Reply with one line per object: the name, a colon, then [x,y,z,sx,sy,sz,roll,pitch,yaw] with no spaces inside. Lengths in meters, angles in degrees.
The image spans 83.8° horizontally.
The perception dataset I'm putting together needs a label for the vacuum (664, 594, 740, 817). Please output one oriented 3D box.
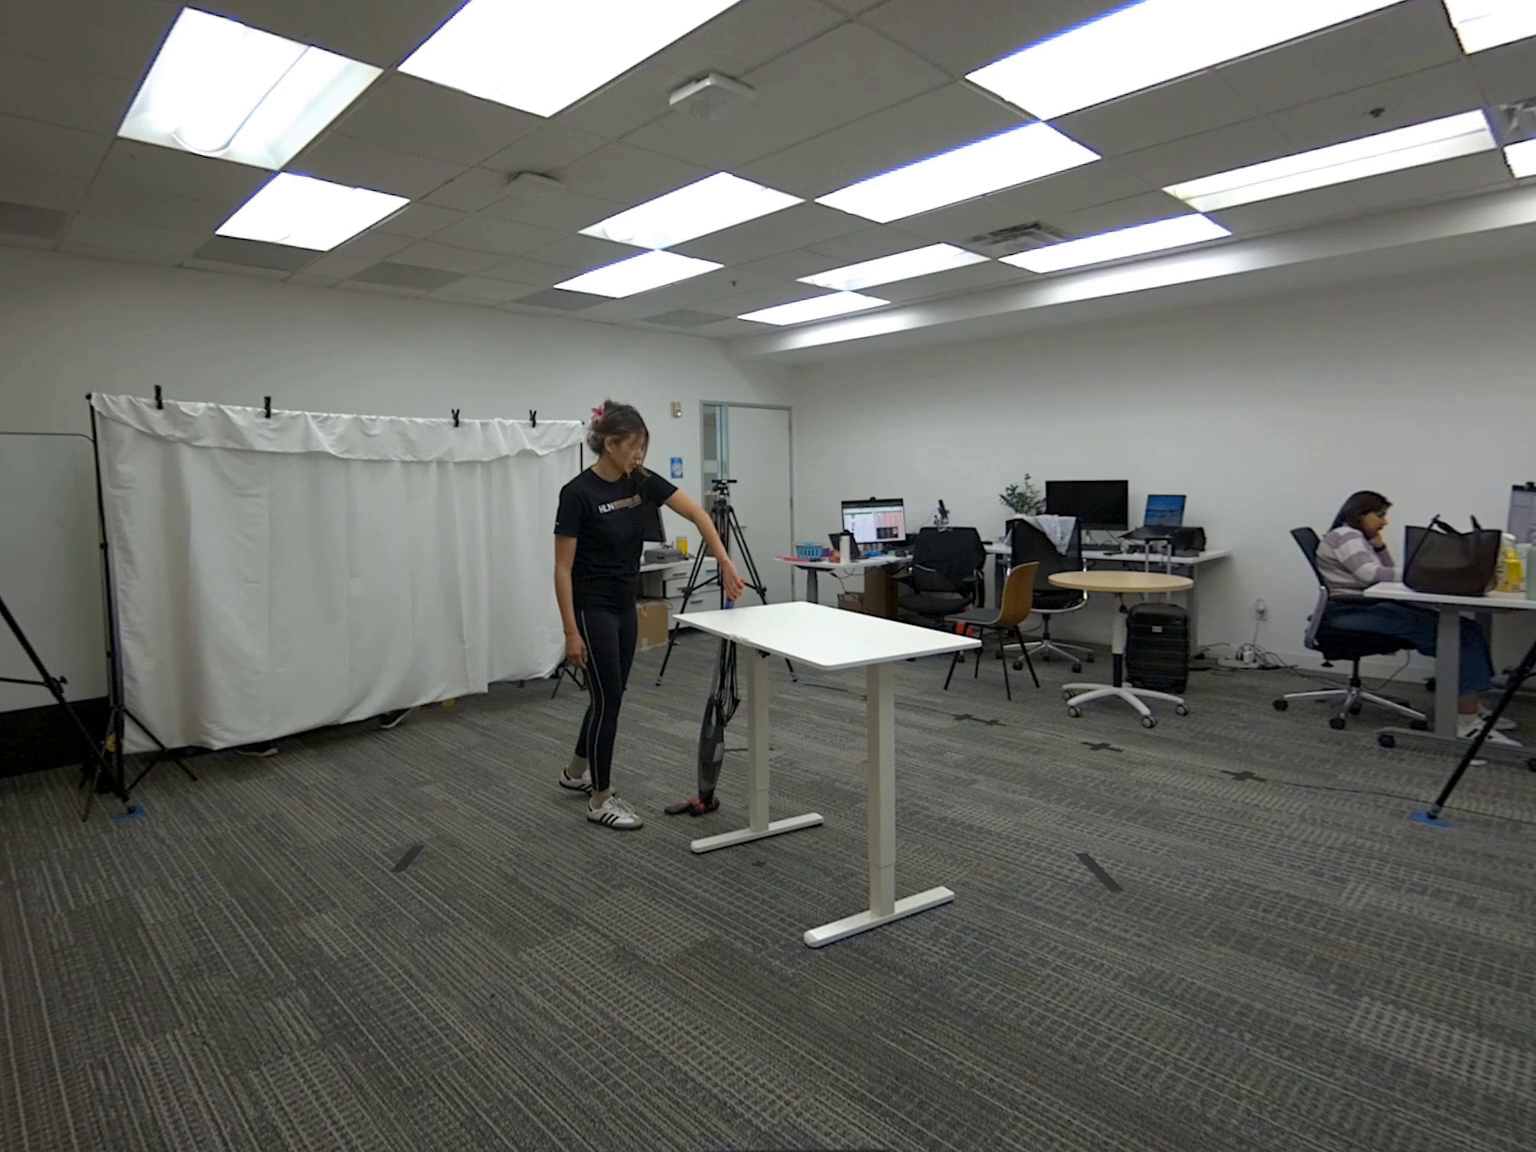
vacuum: [-0.204,0.522,3.488,0.149,1.036,0.246,27,23,36]
